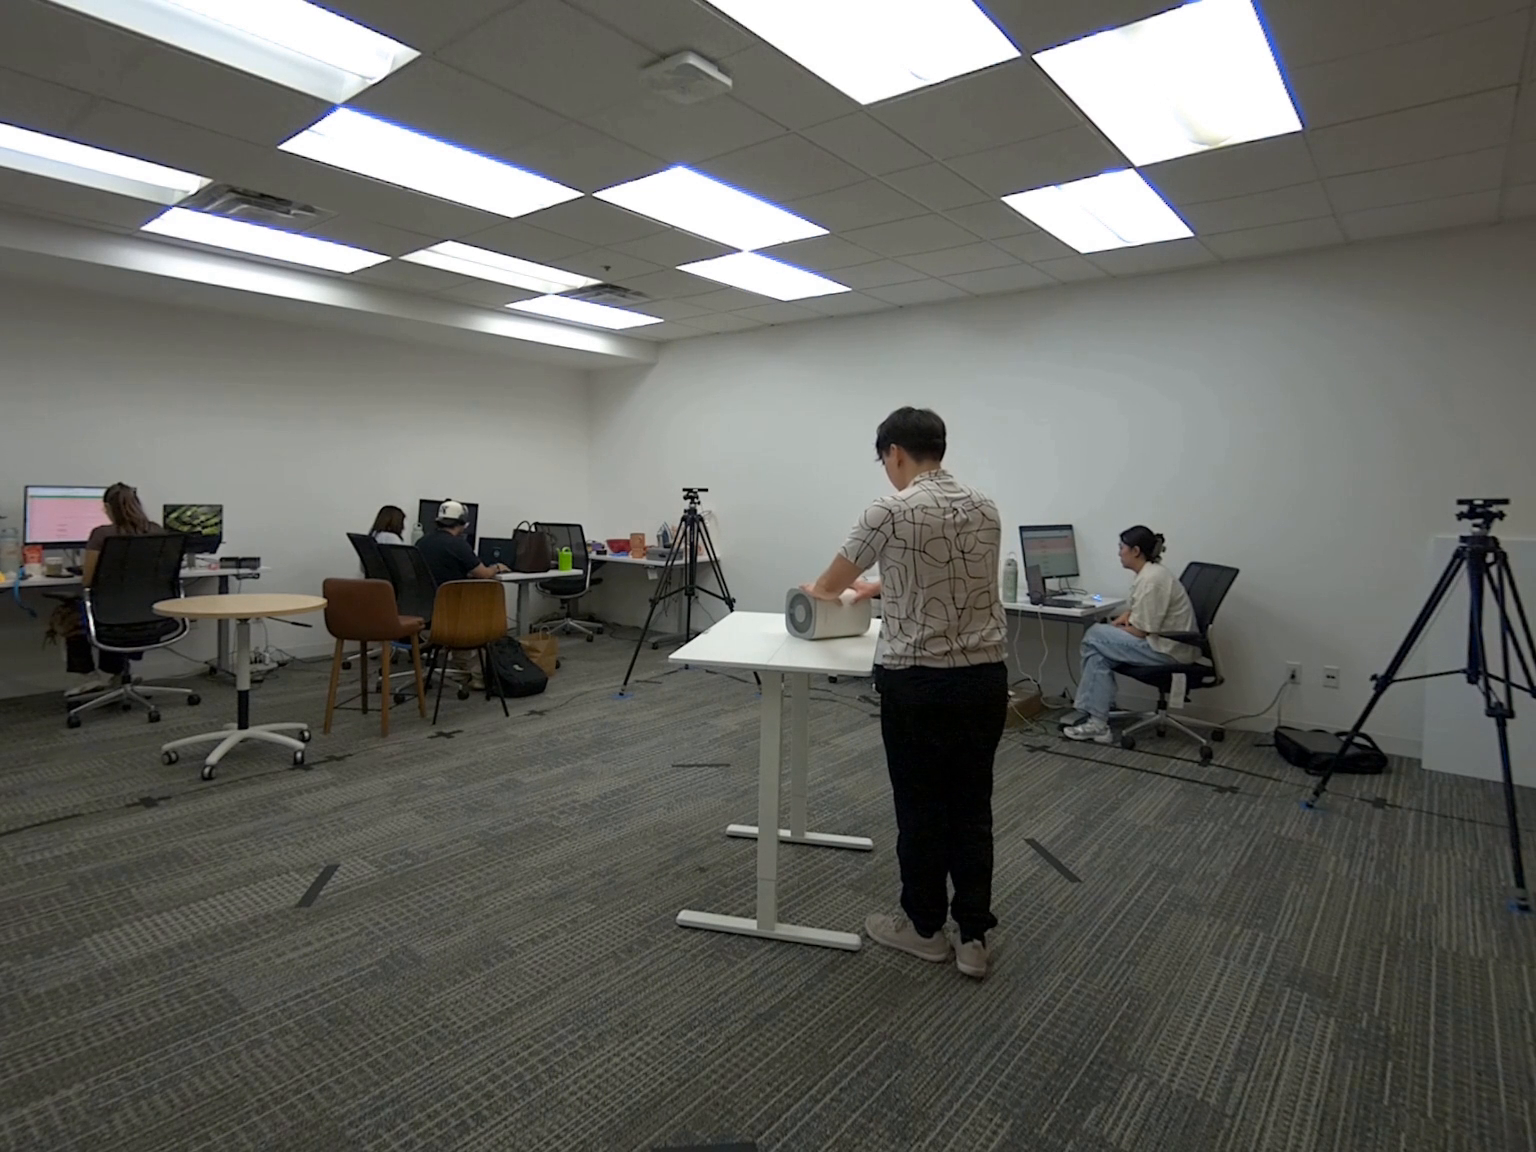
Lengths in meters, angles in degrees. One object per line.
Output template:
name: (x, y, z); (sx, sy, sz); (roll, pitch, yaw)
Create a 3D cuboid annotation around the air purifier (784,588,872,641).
air purifier: (0.210, 0.121, 2.990); (0.258, 0.170, 0.177); (-2, 6, -32)
